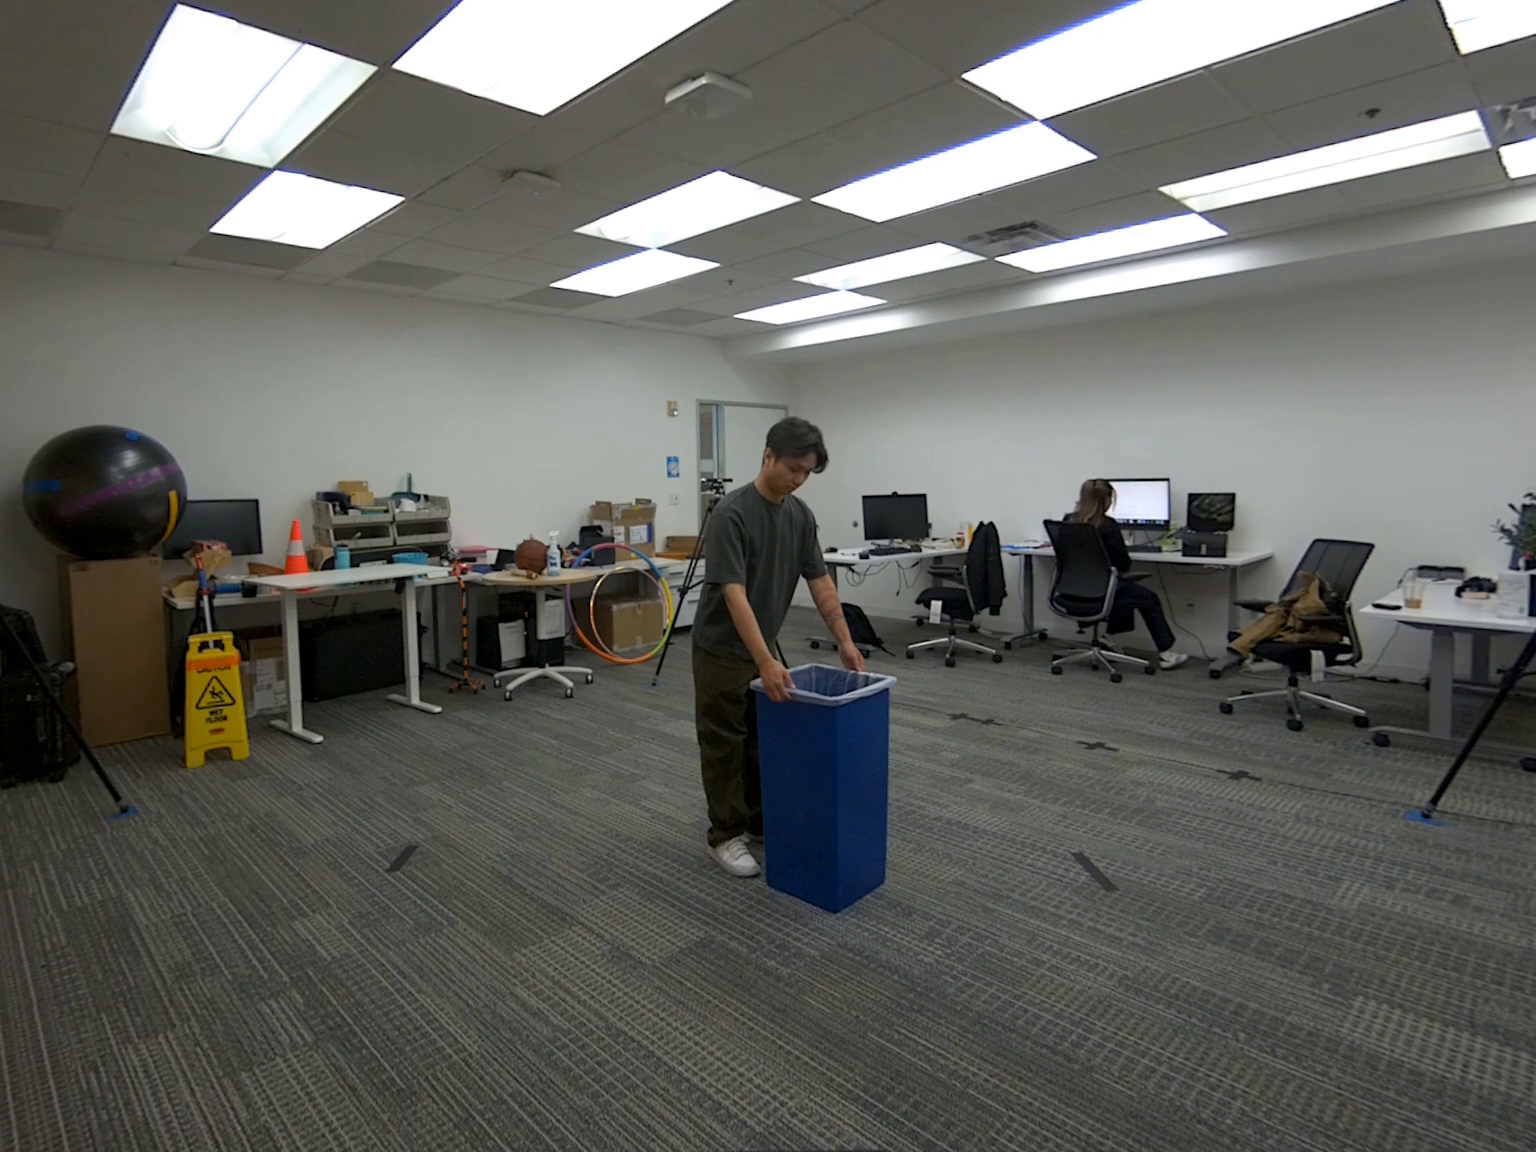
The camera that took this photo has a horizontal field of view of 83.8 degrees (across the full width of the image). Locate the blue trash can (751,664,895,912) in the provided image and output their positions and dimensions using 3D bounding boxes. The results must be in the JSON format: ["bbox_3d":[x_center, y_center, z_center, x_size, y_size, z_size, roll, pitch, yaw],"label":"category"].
[{"bbox_3d":[0.202,0.705,2.914,0.385,0.711,0.368,1,6,41],"label":"blue trash can"}]
